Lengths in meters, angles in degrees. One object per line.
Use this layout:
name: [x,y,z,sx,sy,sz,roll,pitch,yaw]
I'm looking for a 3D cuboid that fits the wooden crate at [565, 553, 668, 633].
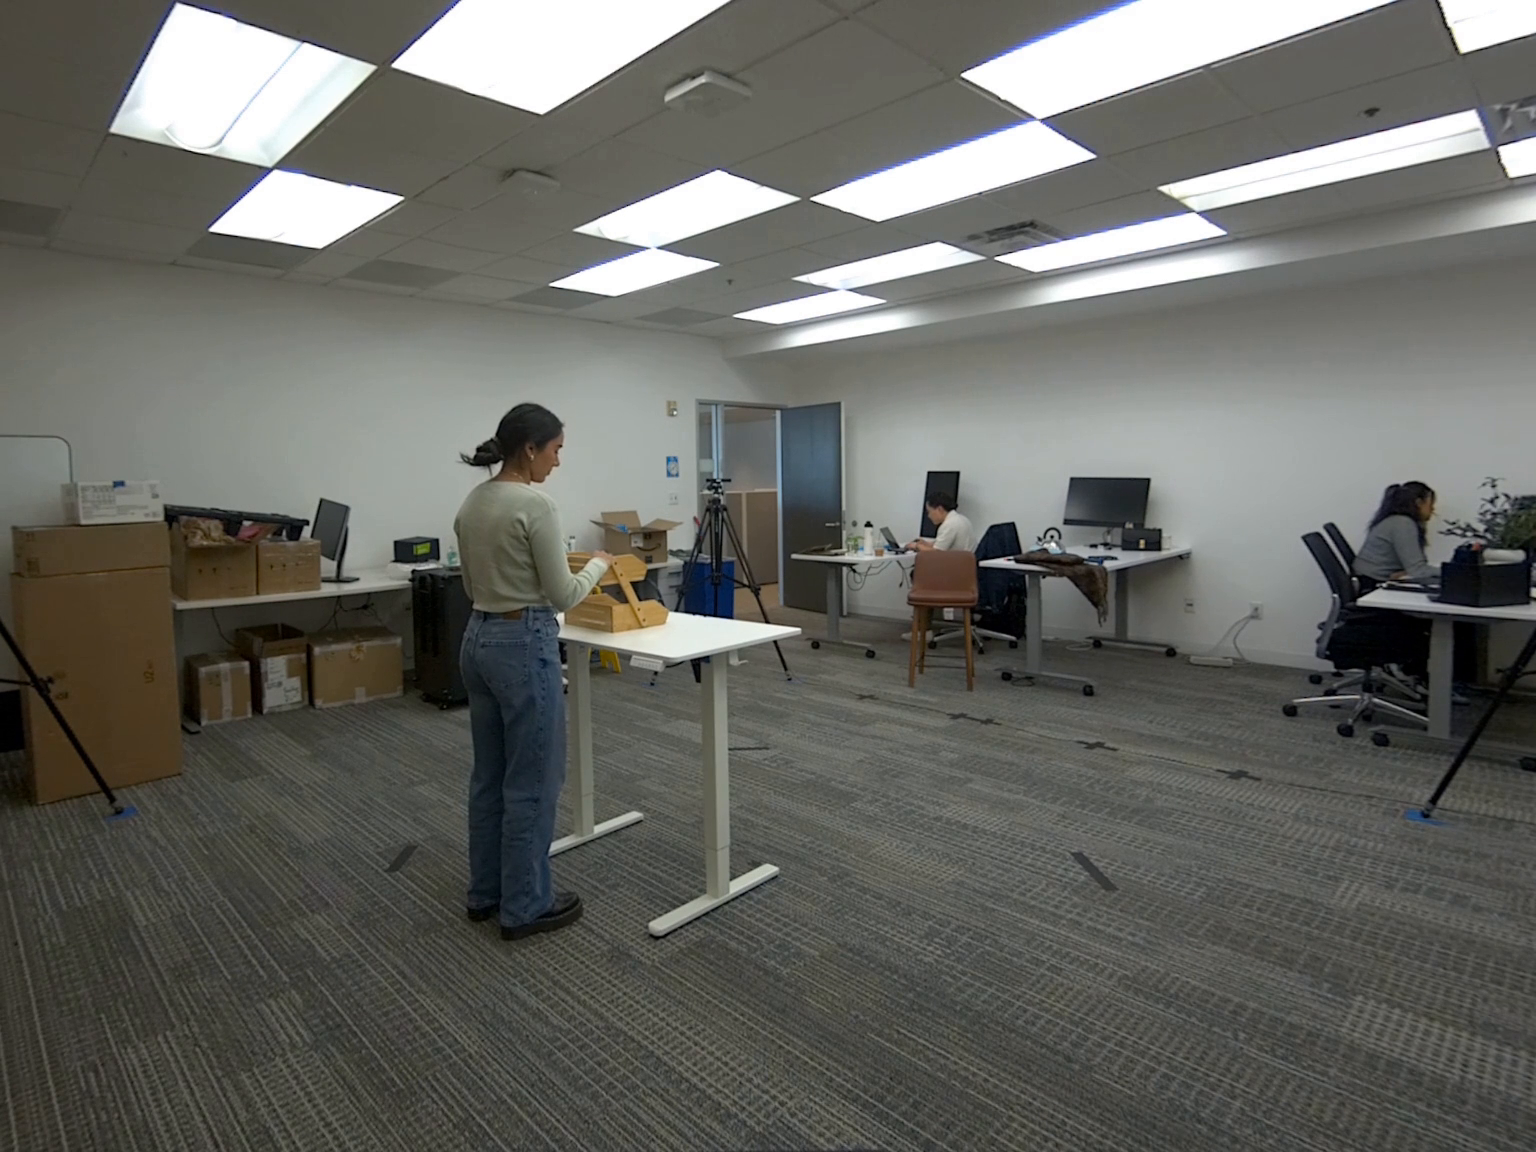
wooden crate: [-0.569,0.044,3.070,0.294,0.272,0.334,-7,7,-44]
